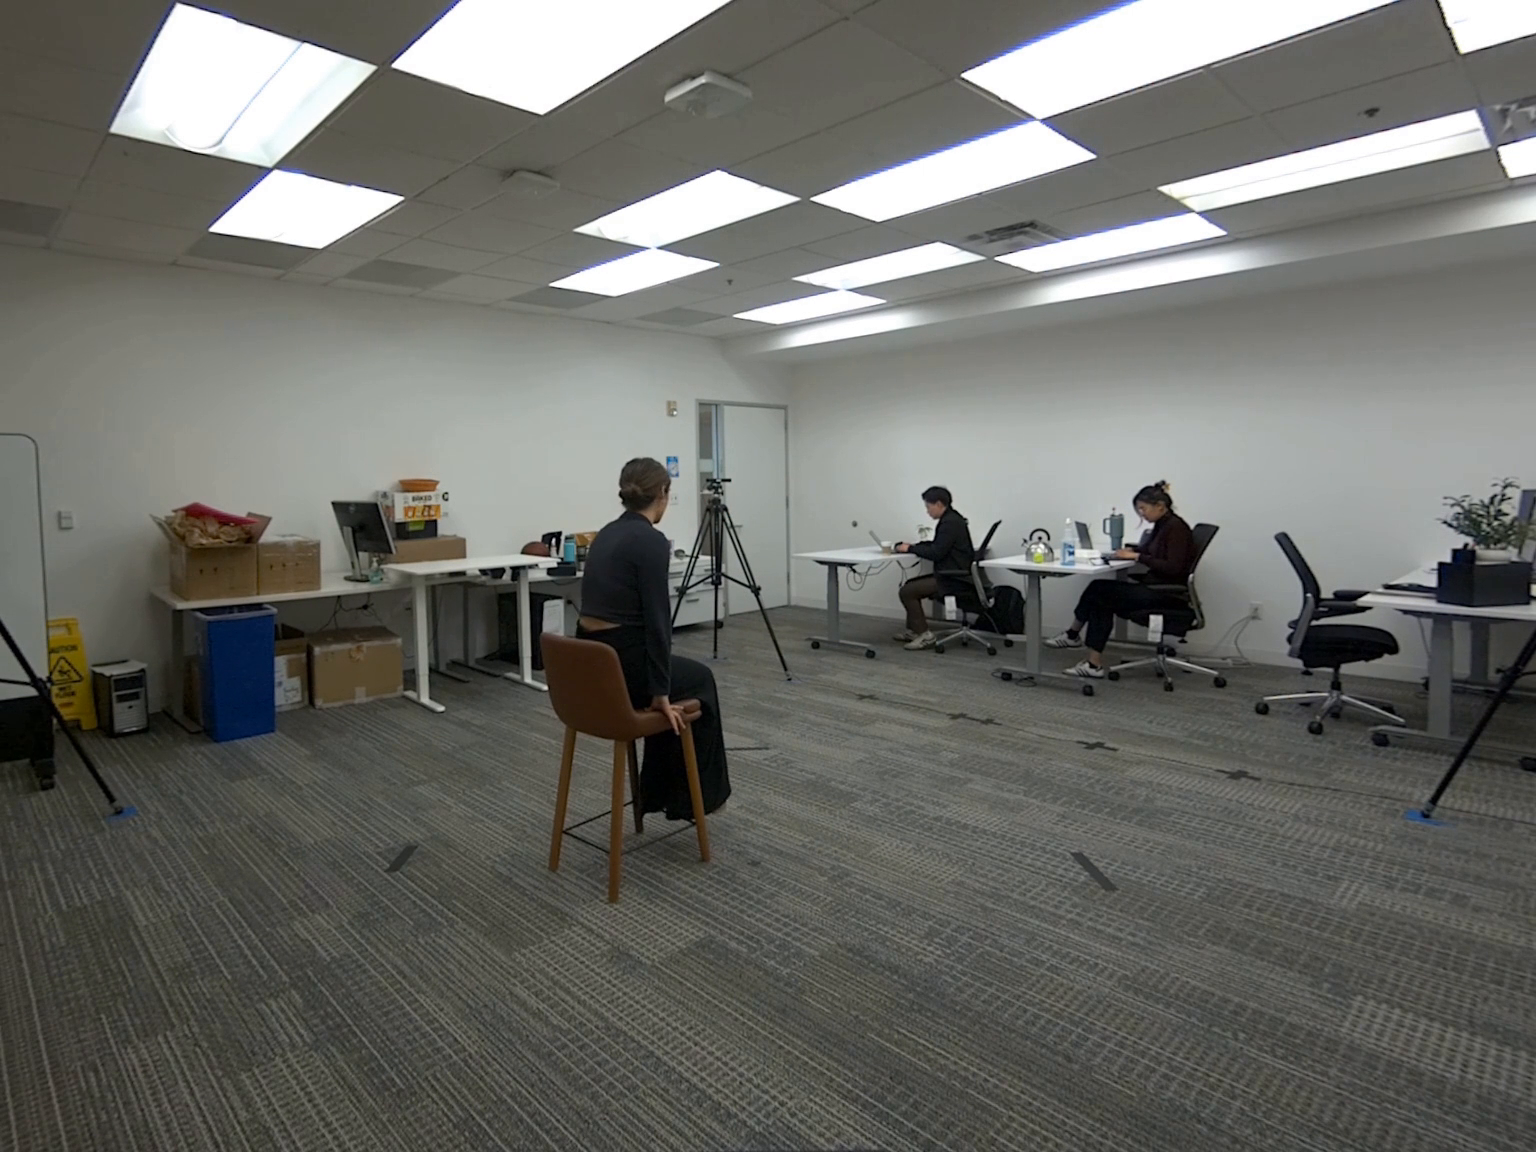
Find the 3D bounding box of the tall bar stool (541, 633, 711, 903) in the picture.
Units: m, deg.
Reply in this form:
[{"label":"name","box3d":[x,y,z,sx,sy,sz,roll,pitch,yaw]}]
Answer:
[{"label":"tall bar stool","box3d":[-0.529,0.622,3.079,0.470,0.885,0.456,2,7,43]}]
